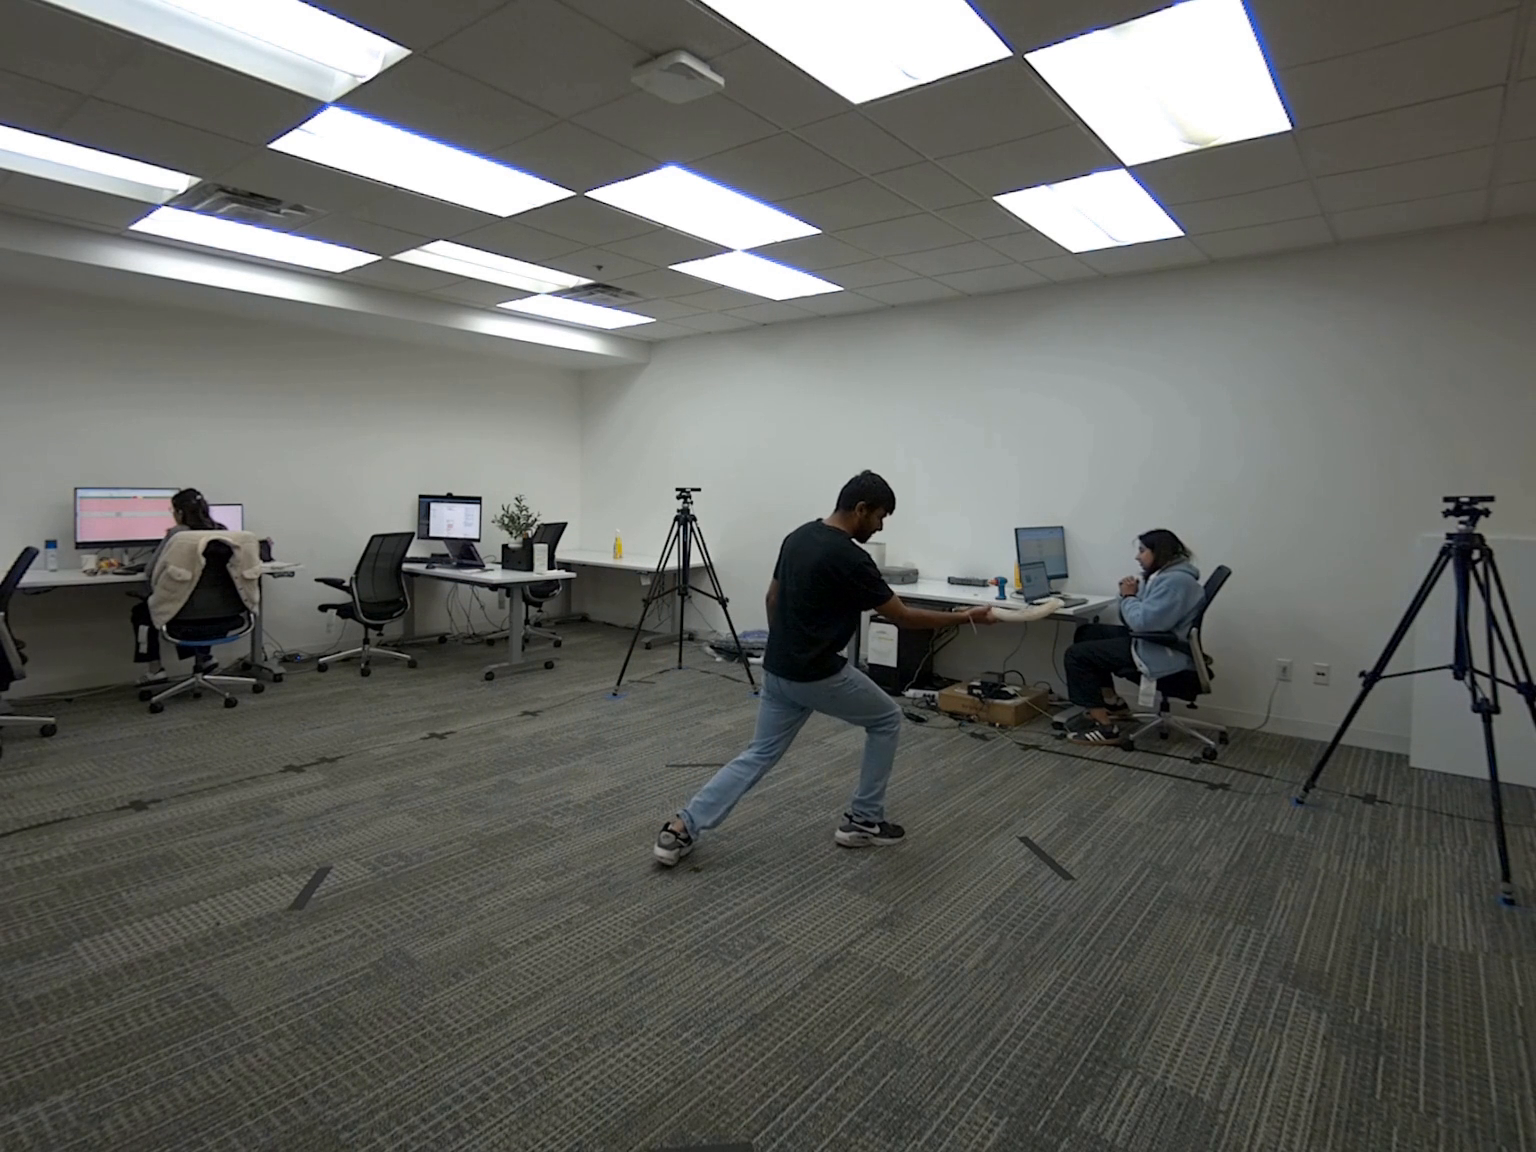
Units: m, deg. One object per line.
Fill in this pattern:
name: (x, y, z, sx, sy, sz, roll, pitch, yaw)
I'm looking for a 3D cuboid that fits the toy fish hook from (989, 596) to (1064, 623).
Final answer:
toy fish hook: (0.903, 0.120, 3.262, 0.221, 0.048, 0.517, -17, 7, -22)
